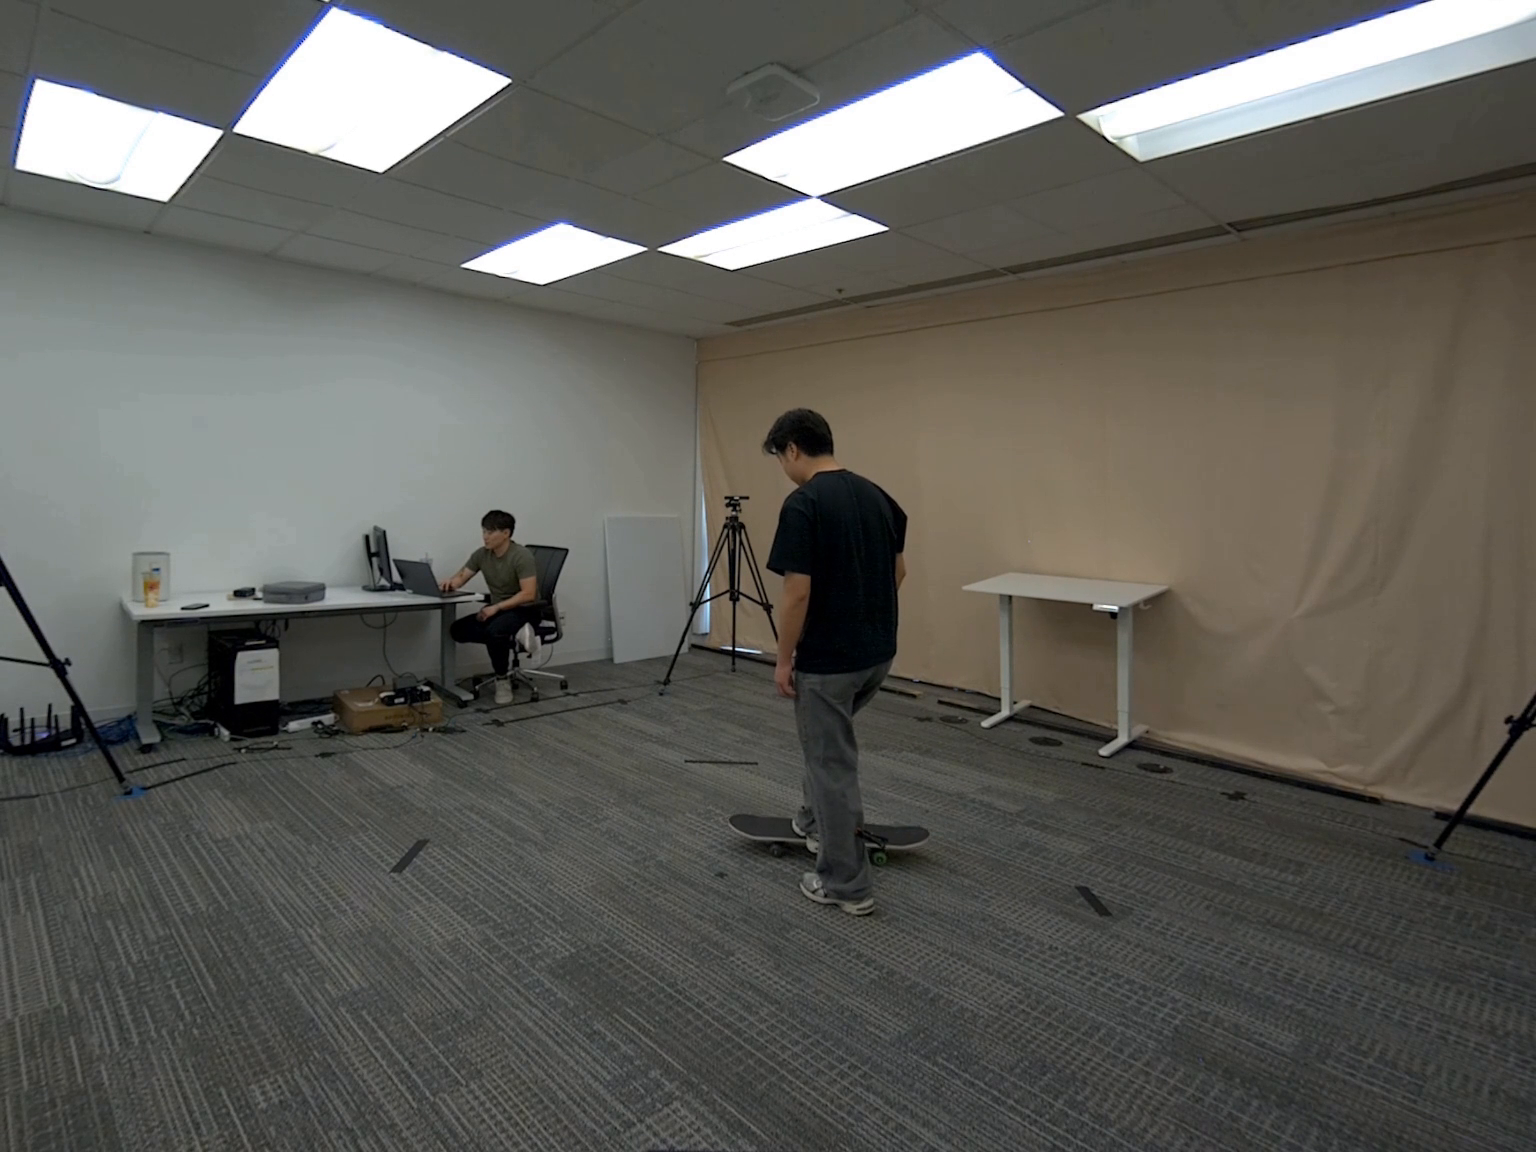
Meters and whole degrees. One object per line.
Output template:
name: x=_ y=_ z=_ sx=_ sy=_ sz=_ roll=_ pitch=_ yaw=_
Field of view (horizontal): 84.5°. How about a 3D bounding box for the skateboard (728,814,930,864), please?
skateboard: x=0.225 y=1.034 z=3.319 sx=0.790 sy=0.110 sz=0.193 roll=2 pitch=6 yaw=7
